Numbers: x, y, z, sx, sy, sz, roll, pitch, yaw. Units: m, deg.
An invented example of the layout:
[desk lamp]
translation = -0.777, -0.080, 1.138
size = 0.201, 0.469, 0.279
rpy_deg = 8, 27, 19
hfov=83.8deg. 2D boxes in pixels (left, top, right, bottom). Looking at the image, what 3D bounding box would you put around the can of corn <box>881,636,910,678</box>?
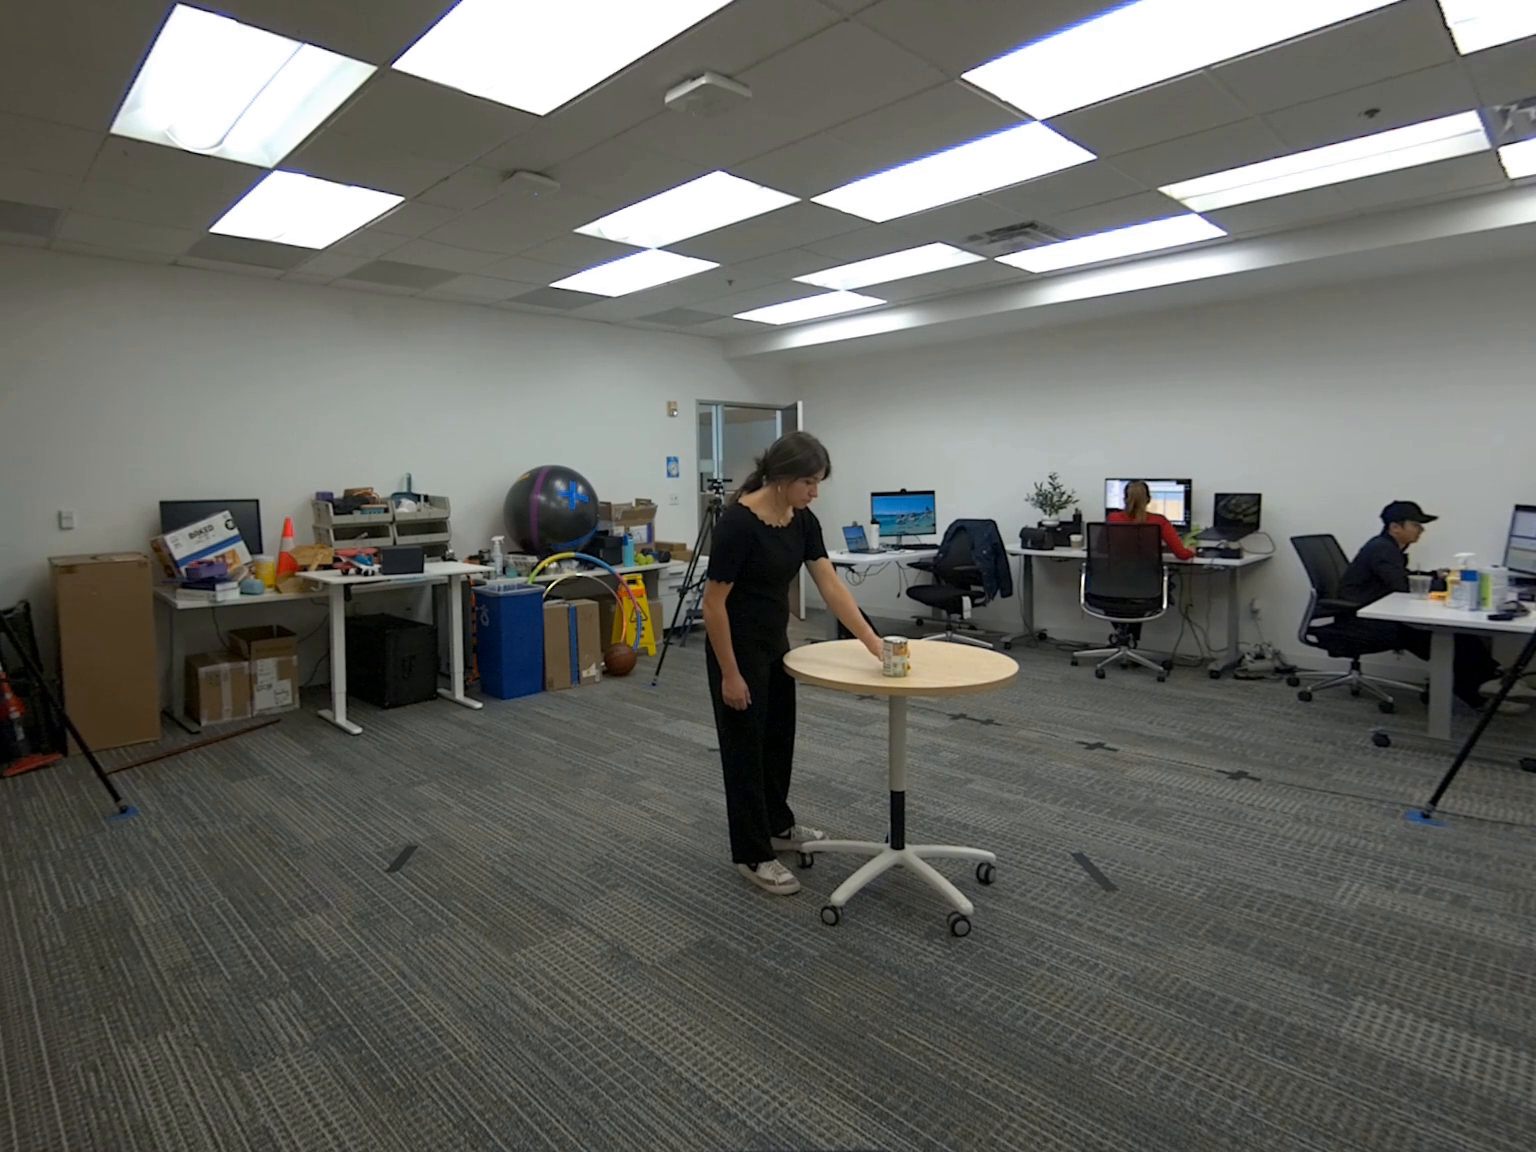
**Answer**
[can of corn]
translation = 0.372, 0.249, 2.633
size = 0.074, 0.110, 0.074
rpy_deg = -2, 5, -1
